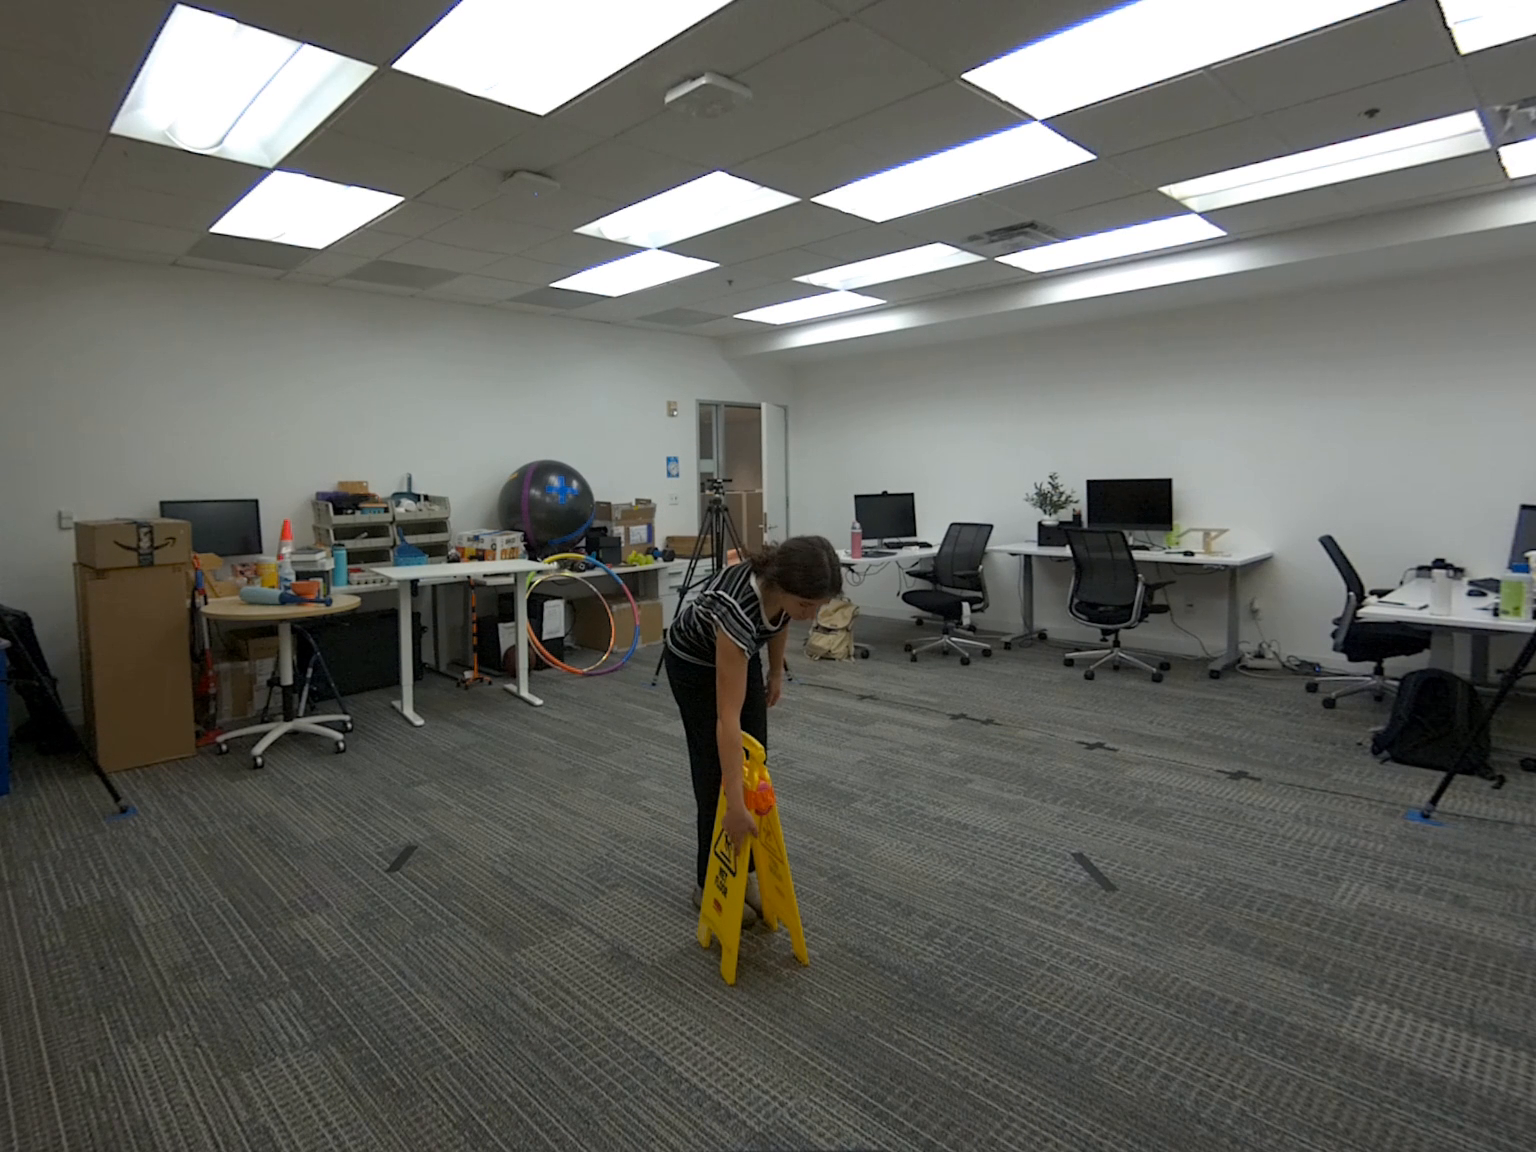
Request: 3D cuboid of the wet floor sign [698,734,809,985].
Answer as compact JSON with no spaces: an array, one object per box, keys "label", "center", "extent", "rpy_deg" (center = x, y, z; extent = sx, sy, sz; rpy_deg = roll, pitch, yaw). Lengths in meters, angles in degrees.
[{"label":"wet floor sign","center":[-0.056,0.797,2.505],"extent":[0.284,0.643,0.289],"rpy_deg":[-4,5,-22]}]
